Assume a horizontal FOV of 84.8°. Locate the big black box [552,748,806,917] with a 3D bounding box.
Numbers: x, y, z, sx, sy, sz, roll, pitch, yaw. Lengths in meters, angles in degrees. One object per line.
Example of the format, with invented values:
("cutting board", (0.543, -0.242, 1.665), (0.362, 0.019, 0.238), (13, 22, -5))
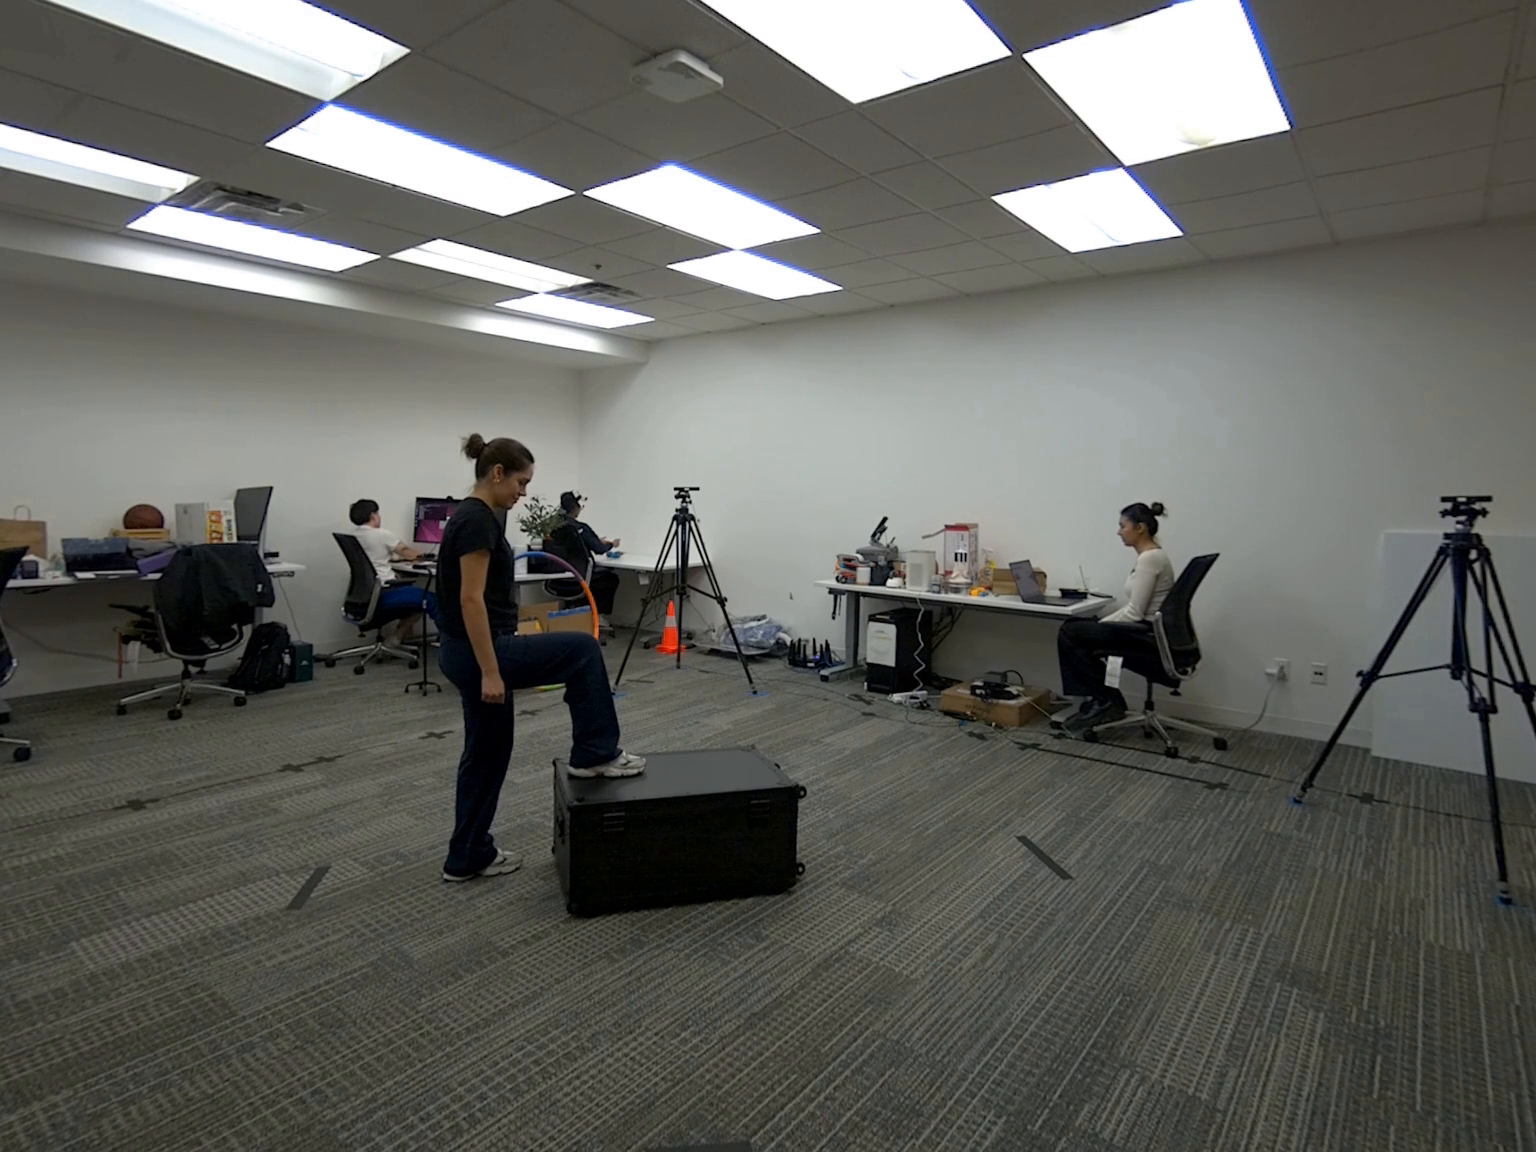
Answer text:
("big black box", (-0.302, 0.875, 3.057), (0.846, 0.395, 0.533), (-1, 5, -18))
